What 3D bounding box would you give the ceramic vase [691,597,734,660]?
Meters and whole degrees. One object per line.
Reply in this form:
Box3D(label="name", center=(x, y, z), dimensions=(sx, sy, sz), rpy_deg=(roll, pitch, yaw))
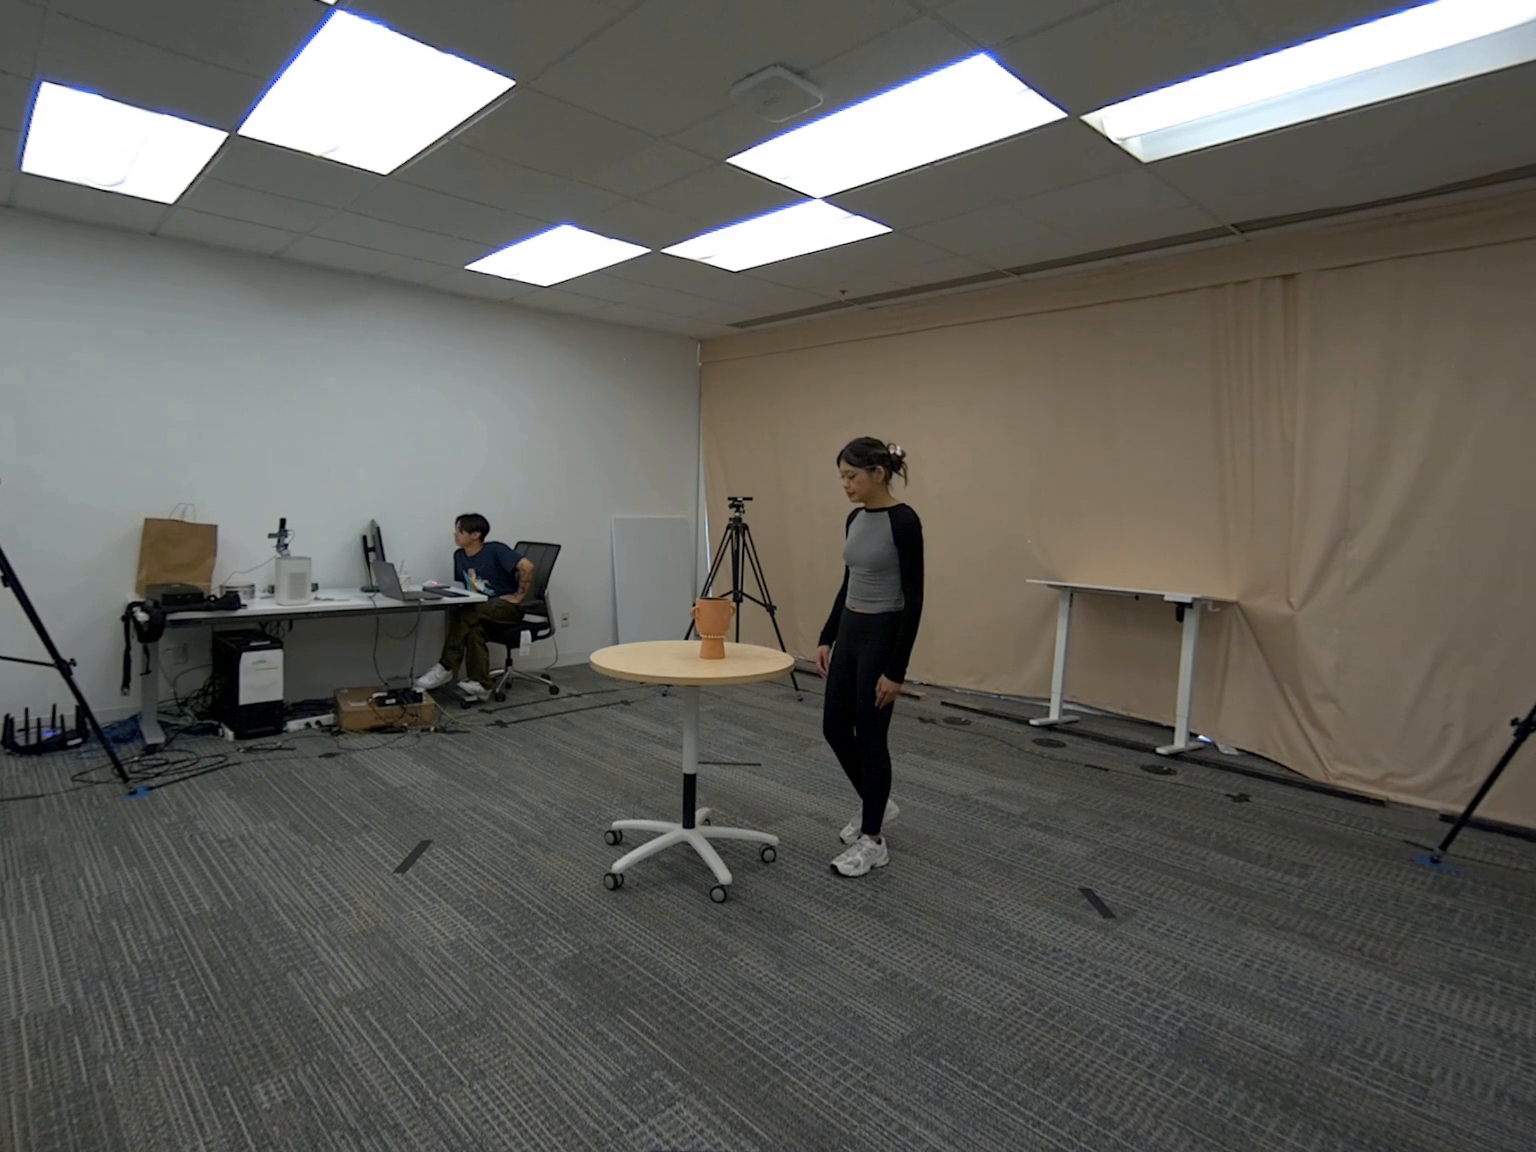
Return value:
Box3D(label="ceramic vase", center=(-0.210, 0.195, 3.168), dimensions=(0.160, 0.219, 0.134), rpy_deg=(2, 4, 7))
